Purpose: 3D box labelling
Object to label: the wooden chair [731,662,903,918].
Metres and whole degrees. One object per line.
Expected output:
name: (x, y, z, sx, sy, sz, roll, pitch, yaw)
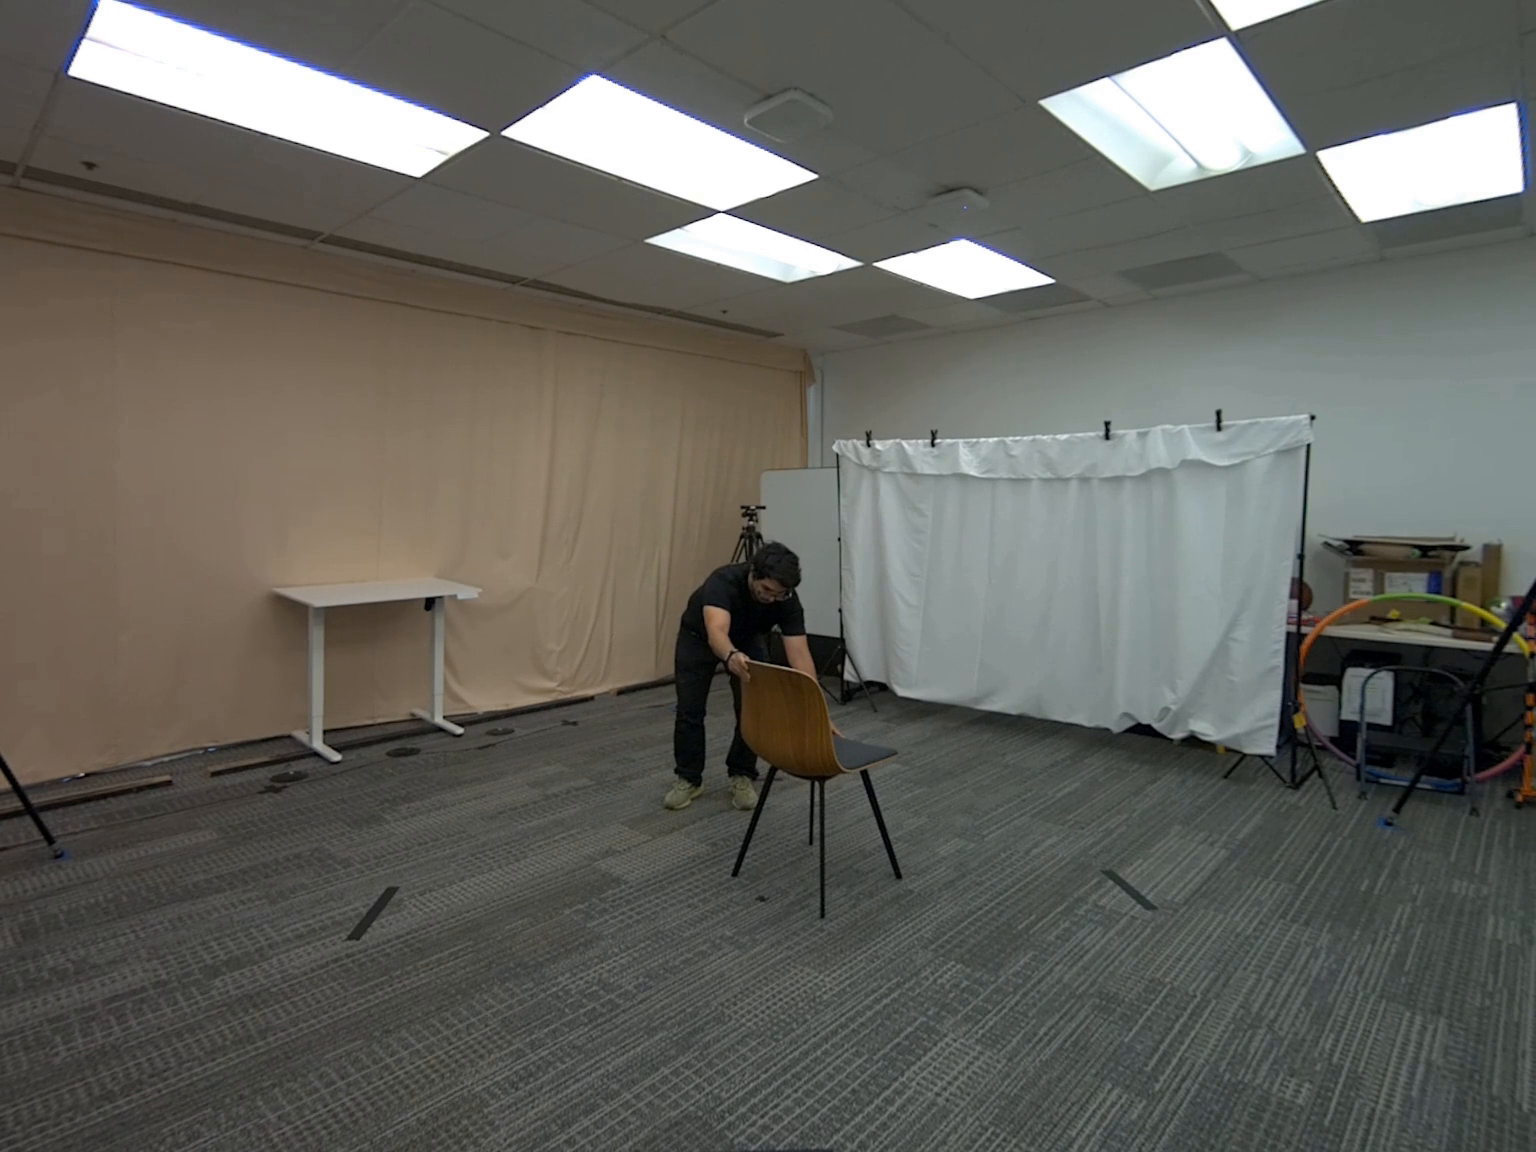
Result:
wooden chair: (0.191, 0.704, 3.129, 0.508, 0.874, 0.494, -9, 8, -44)
